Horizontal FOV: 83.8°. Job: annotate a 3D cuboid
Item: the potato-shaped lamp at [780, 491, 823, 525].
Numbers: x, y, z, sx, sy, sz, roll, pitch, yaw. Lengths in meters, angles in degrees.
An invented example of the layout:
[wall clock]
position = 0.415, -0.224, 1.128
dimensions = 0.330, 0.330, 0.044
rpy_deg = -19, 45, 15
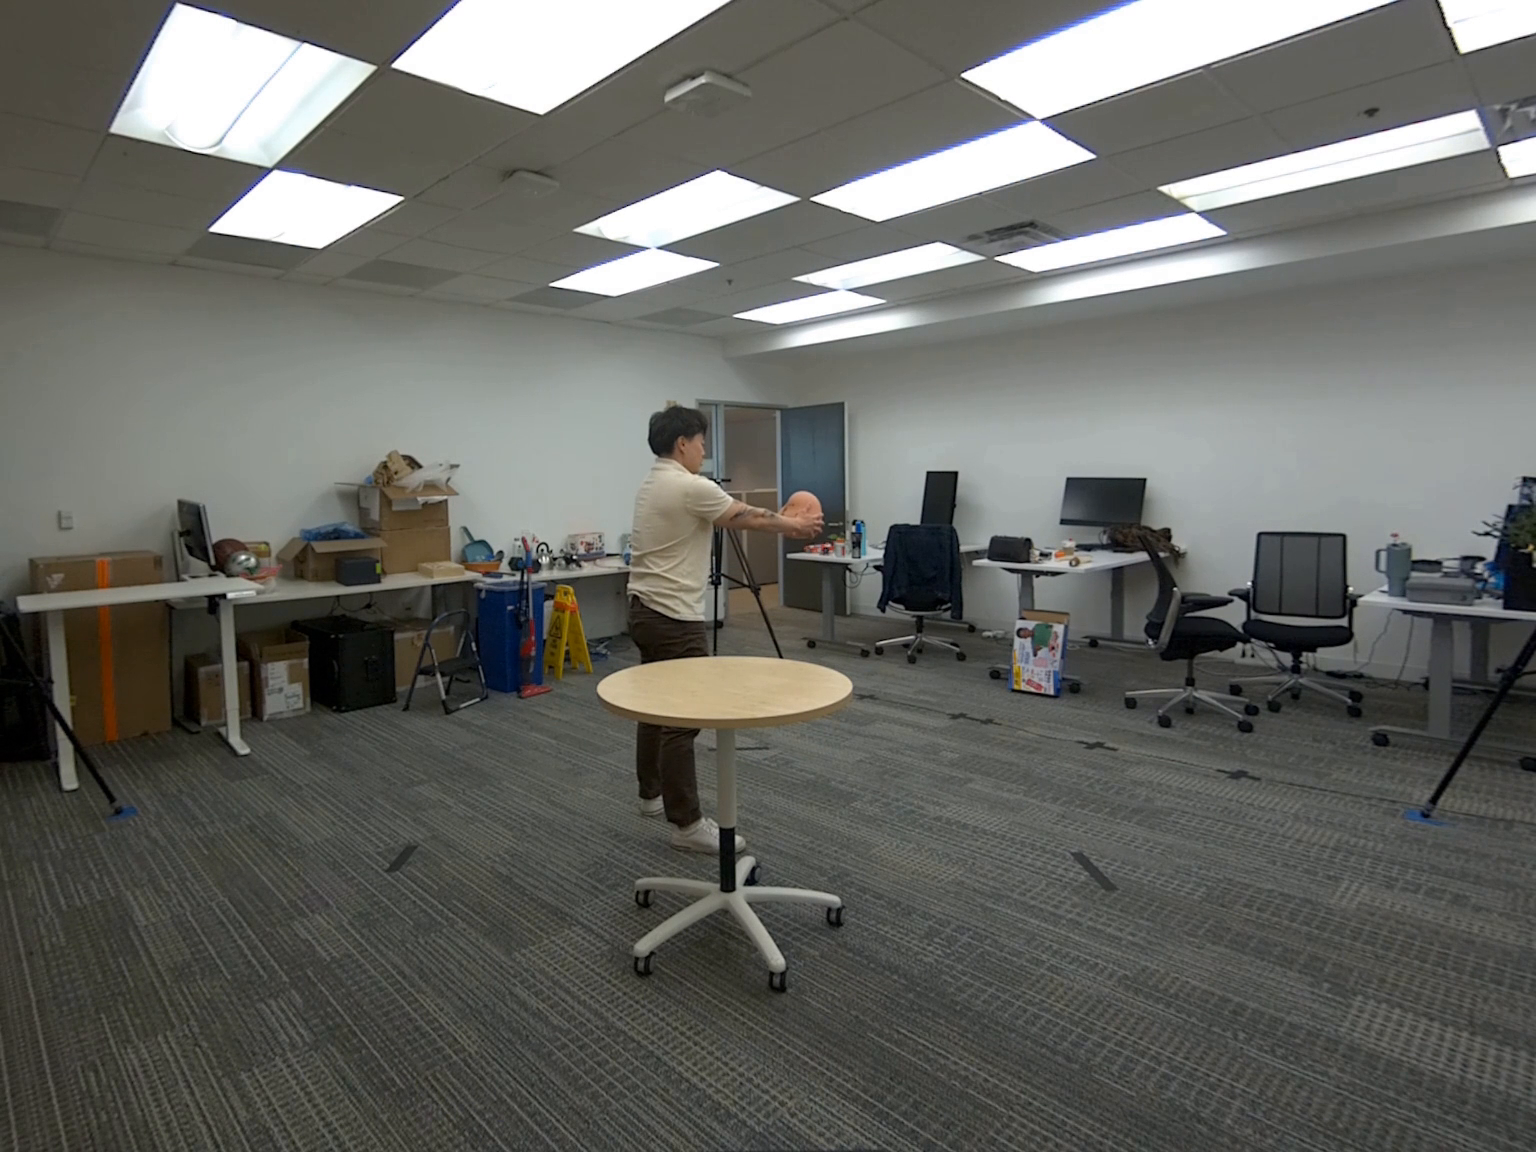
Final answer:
[potato-shaped lamp]
position = 0.136, -0.260, 3.630
dimensions = 0.168, 0.197, 0.169
rpy_deg = 6, 9, -22
